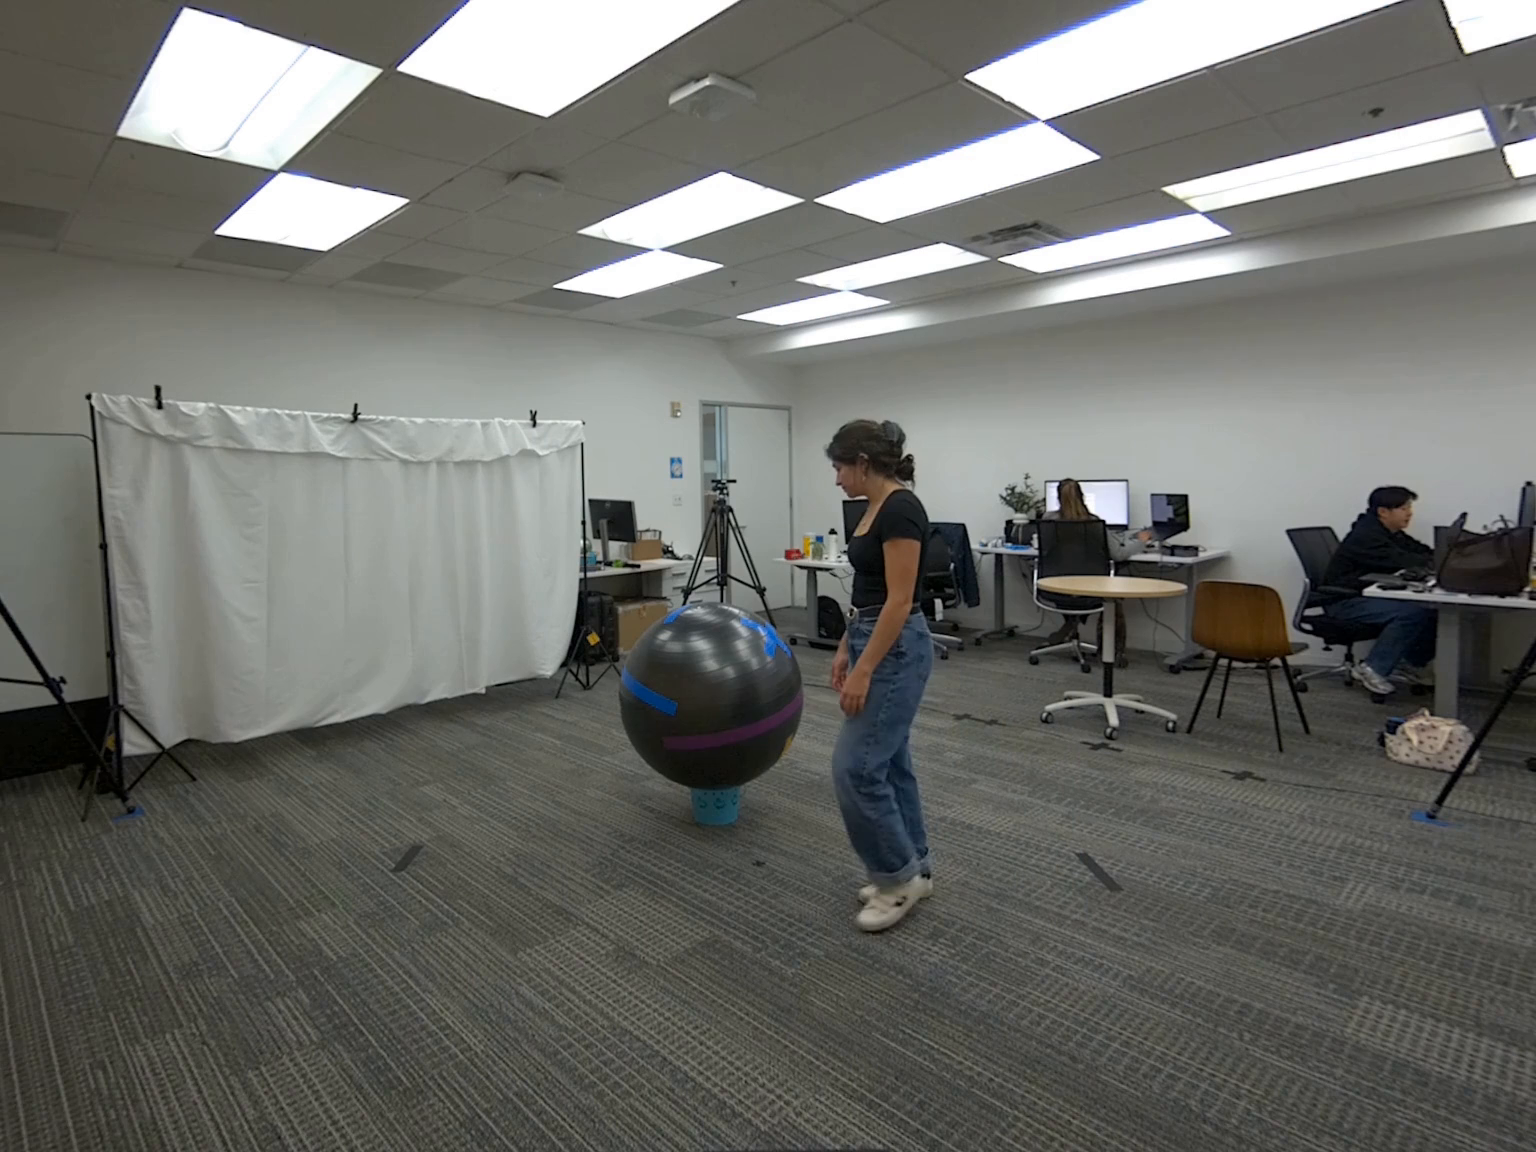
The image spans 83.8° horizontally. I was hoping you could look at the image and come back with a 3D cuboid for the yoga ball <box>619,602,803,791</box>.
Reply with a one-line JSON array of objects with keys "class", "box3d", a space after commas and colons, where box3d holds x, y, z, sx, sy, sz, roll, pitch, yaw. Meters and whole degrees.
[{"class": "yoga ball", "box3d": [-0.232, 0.488, 3.523, 0.757, 0.755, 0.762, -1, 5, -2]}]
